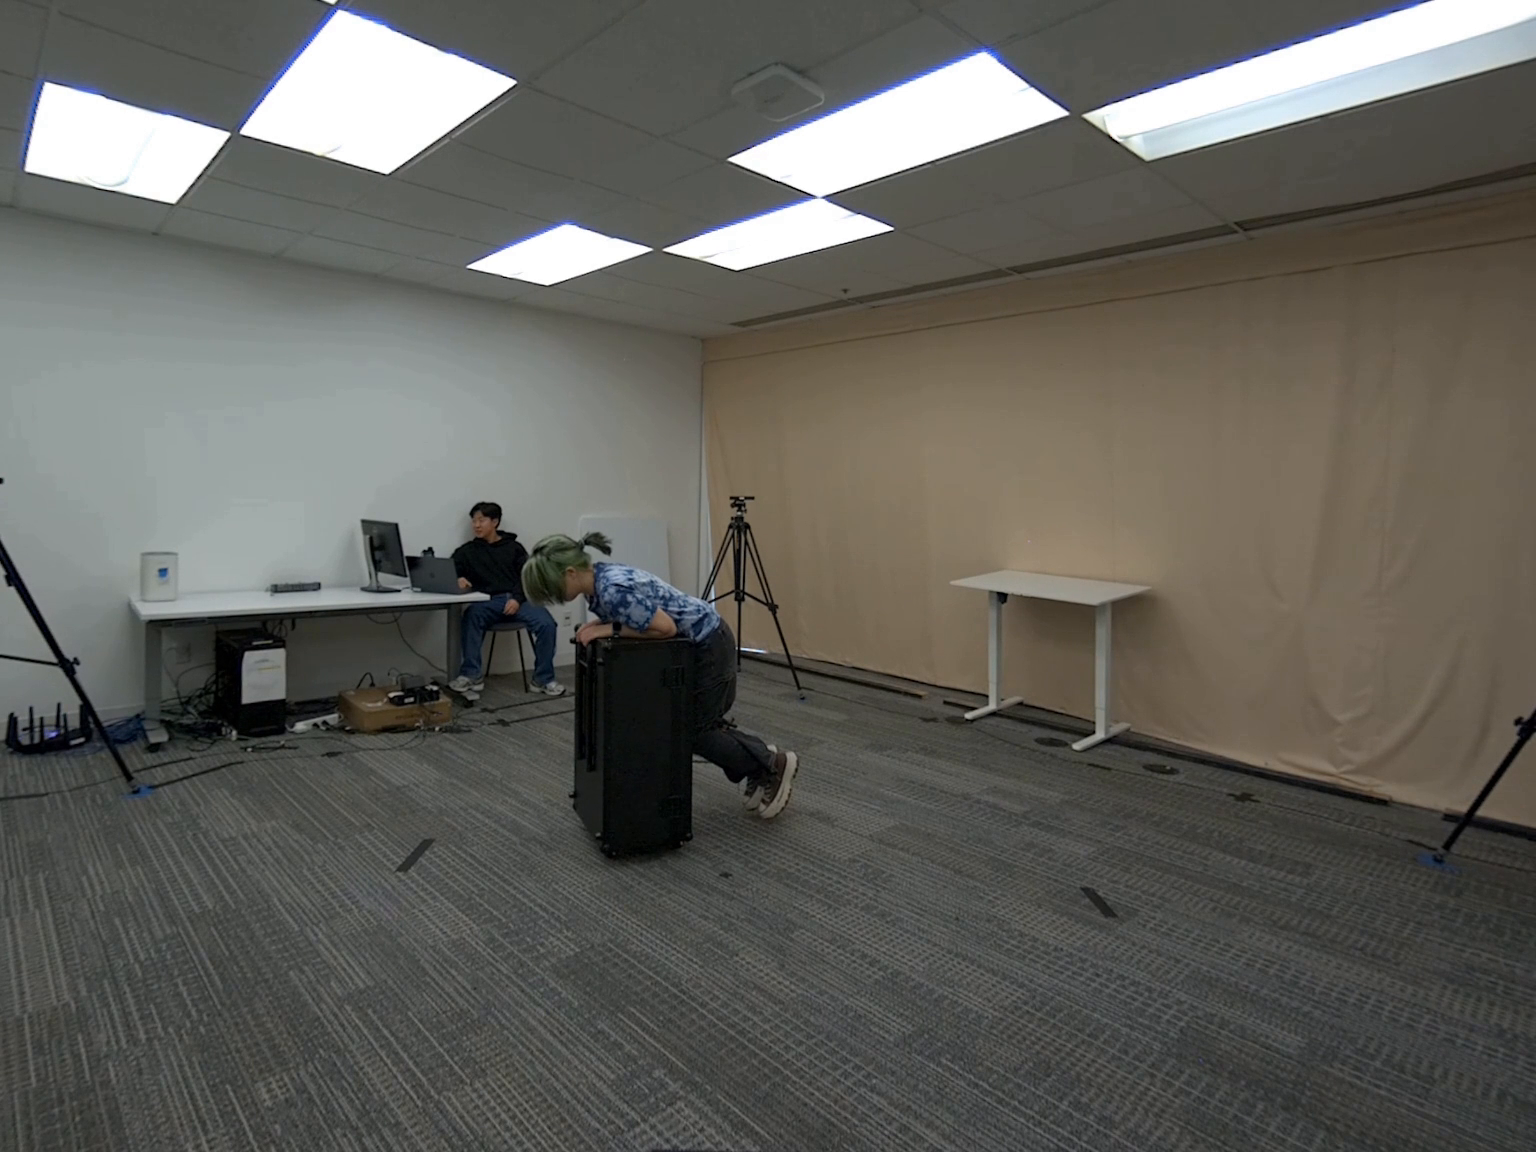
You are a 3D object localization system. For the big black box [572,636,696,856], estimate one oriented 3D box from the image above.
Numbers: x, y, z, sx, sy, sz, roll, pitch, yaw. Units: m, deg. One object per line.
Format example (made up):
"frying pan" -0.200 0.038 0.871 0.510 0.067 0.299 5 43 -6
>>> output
"big black box" -0.570 0.596 3.361 0.389 0.859 0.532 -1 4 -25
